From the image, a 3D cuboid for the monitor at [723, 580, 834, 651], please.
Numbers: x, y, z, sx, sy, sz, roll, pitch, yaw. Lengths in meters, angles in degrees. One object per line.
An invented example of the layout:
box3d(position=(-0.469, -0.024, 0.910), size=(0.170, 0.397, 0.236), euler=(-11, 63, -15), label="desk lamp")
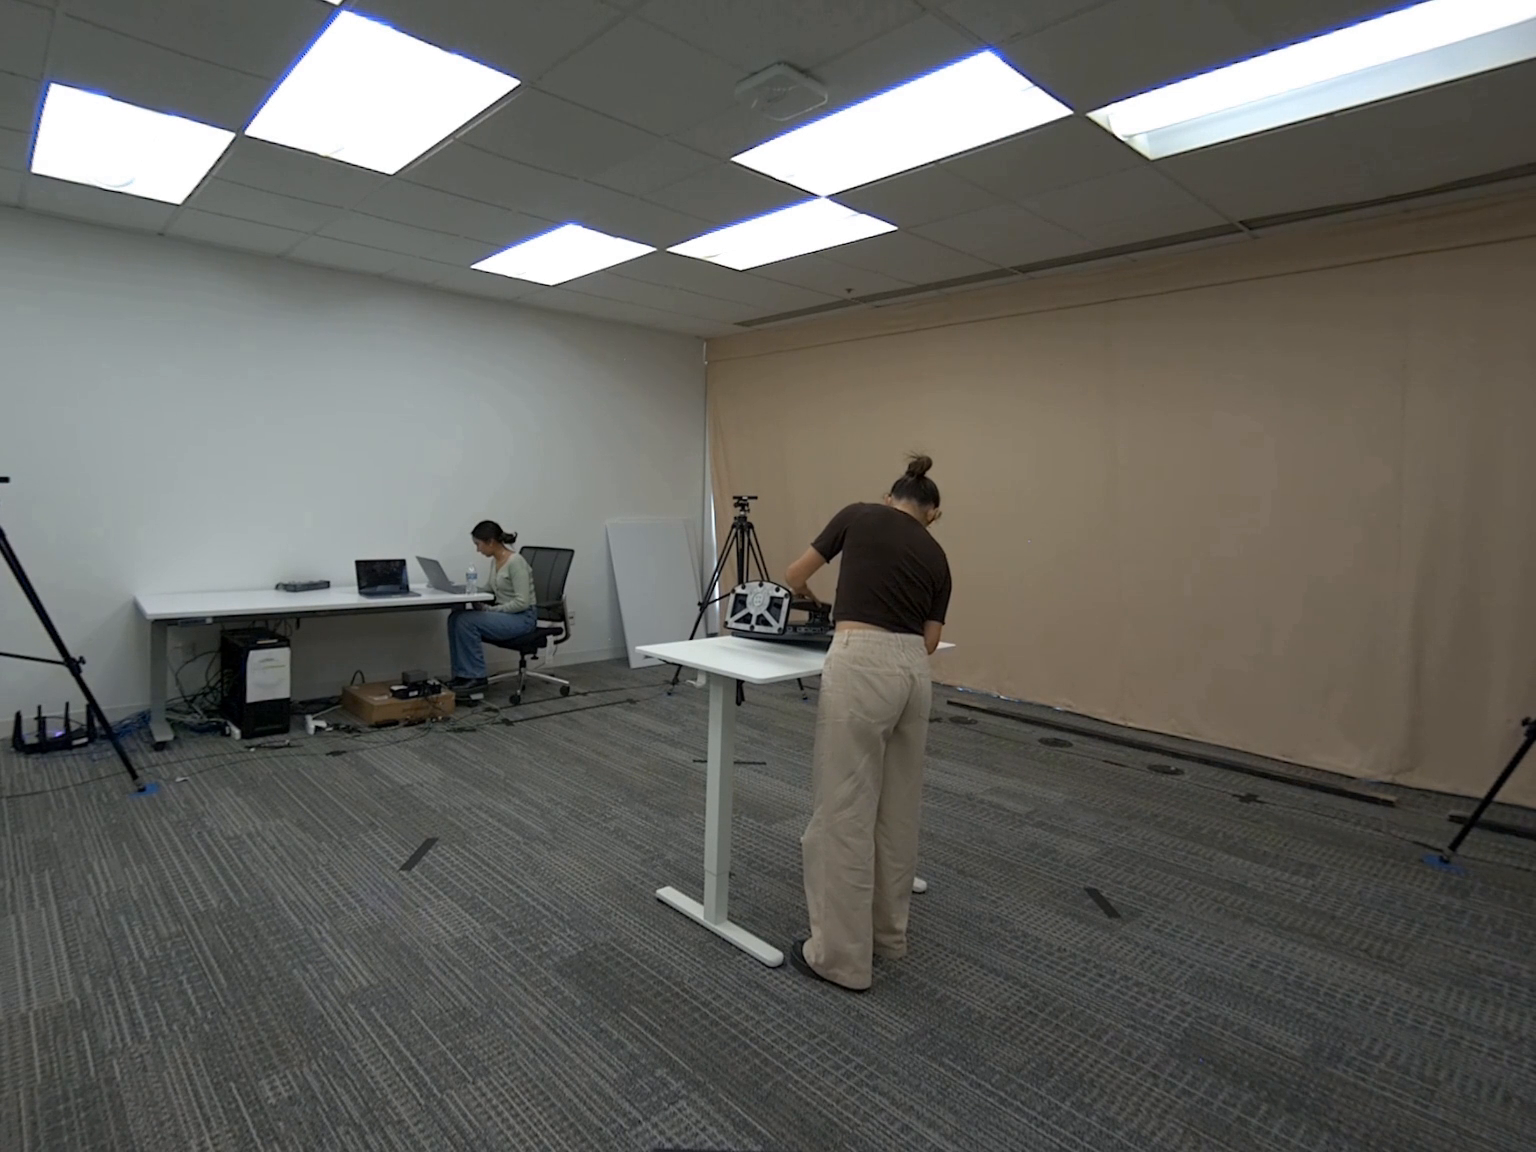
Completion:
box3d(position=(0.117, 0.160, 2.972), size=(0.552, 0.188, 0.507), euler=(3, -11, 44), label="monitor")
